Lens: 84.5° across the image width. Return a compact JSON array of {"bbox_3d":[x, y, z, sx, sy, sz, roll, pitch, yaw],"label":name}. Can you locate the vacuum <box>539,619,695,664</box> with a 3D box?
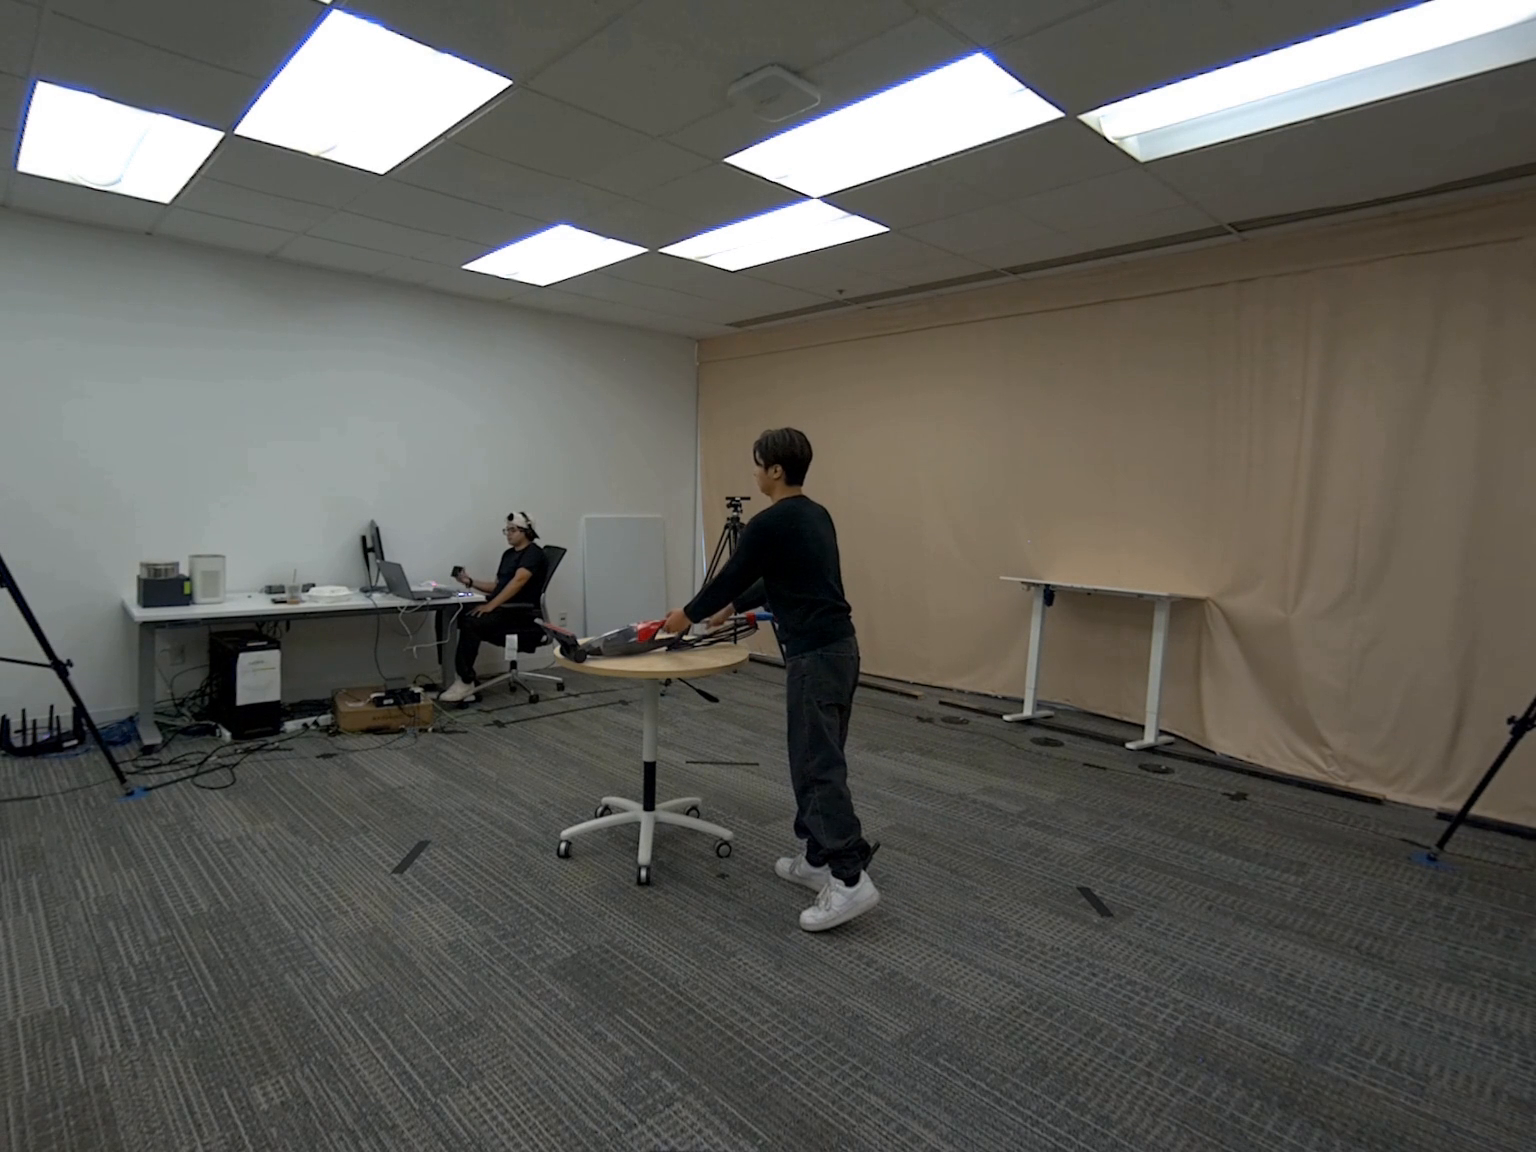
[{"bbox_3d":[-0.334,0.245,3.376,1.027,0.143,0.258,-4,6,-35],"label":"vacuum"}]
